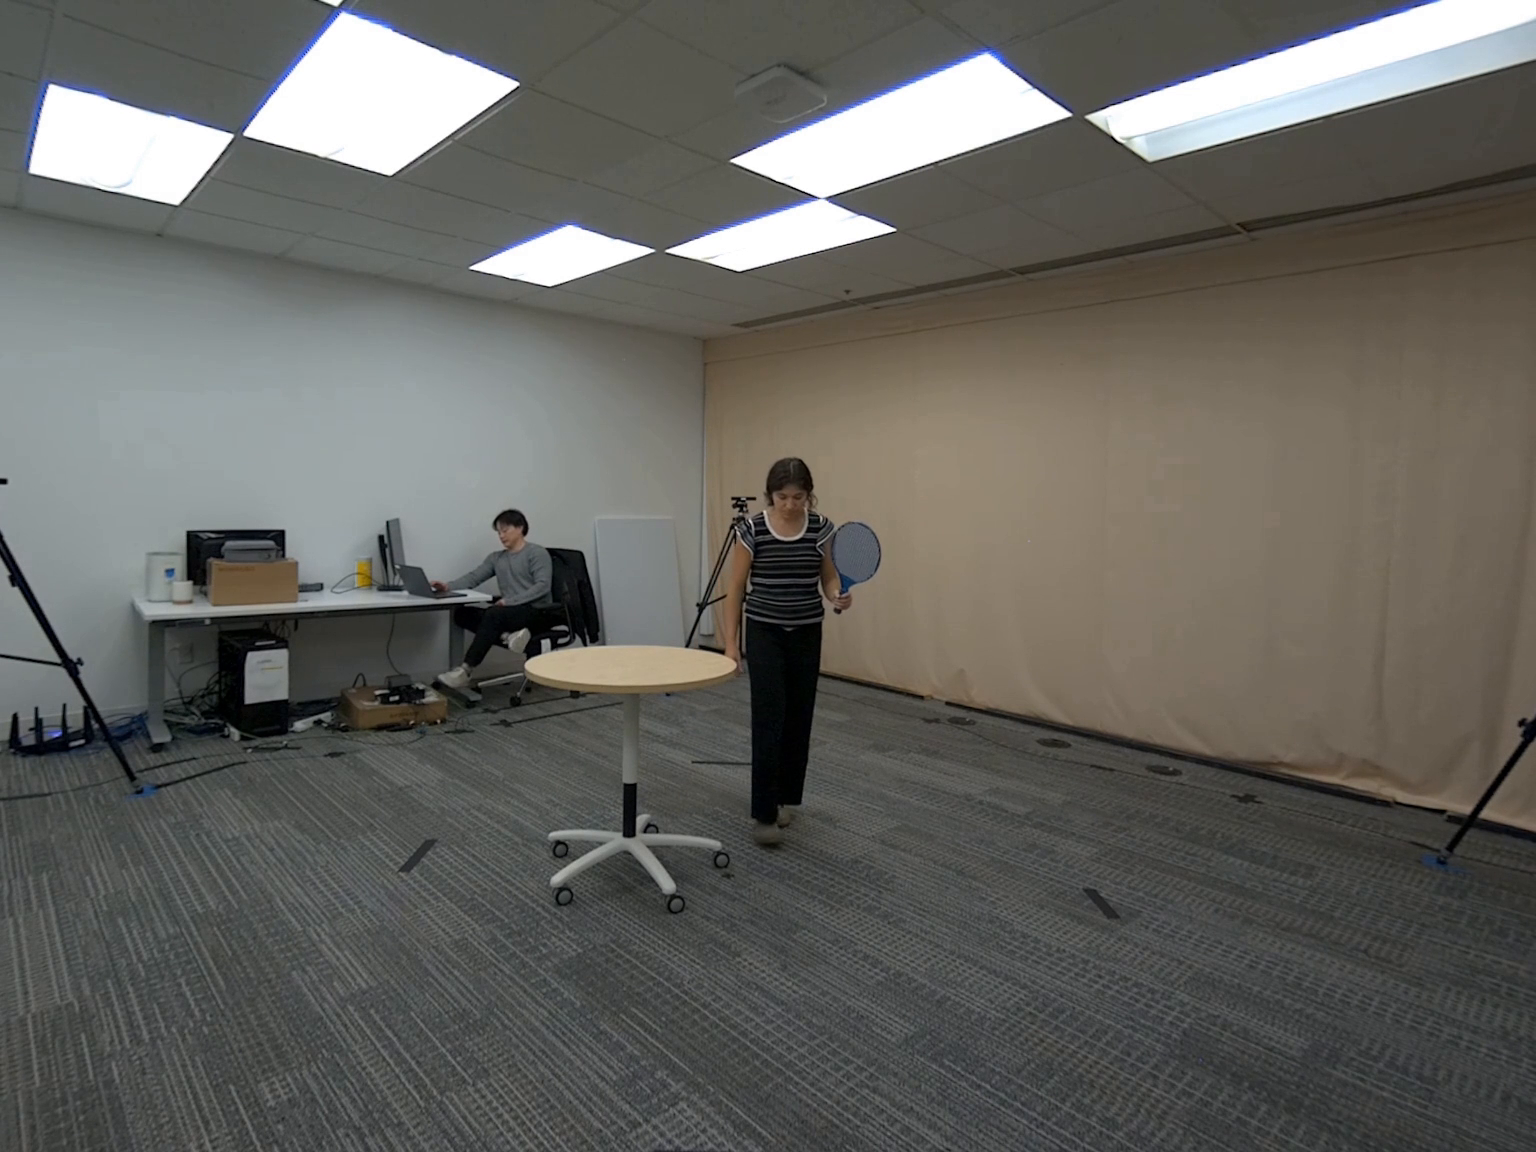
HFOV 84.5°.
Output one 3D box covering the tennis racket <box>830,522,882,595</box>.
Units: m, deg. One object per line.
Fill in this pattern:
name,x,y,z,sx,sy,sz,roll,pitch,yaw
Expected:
tennis racket,0.296,-0.026,3.291,0.219,0.427,0.031,39,40,24
